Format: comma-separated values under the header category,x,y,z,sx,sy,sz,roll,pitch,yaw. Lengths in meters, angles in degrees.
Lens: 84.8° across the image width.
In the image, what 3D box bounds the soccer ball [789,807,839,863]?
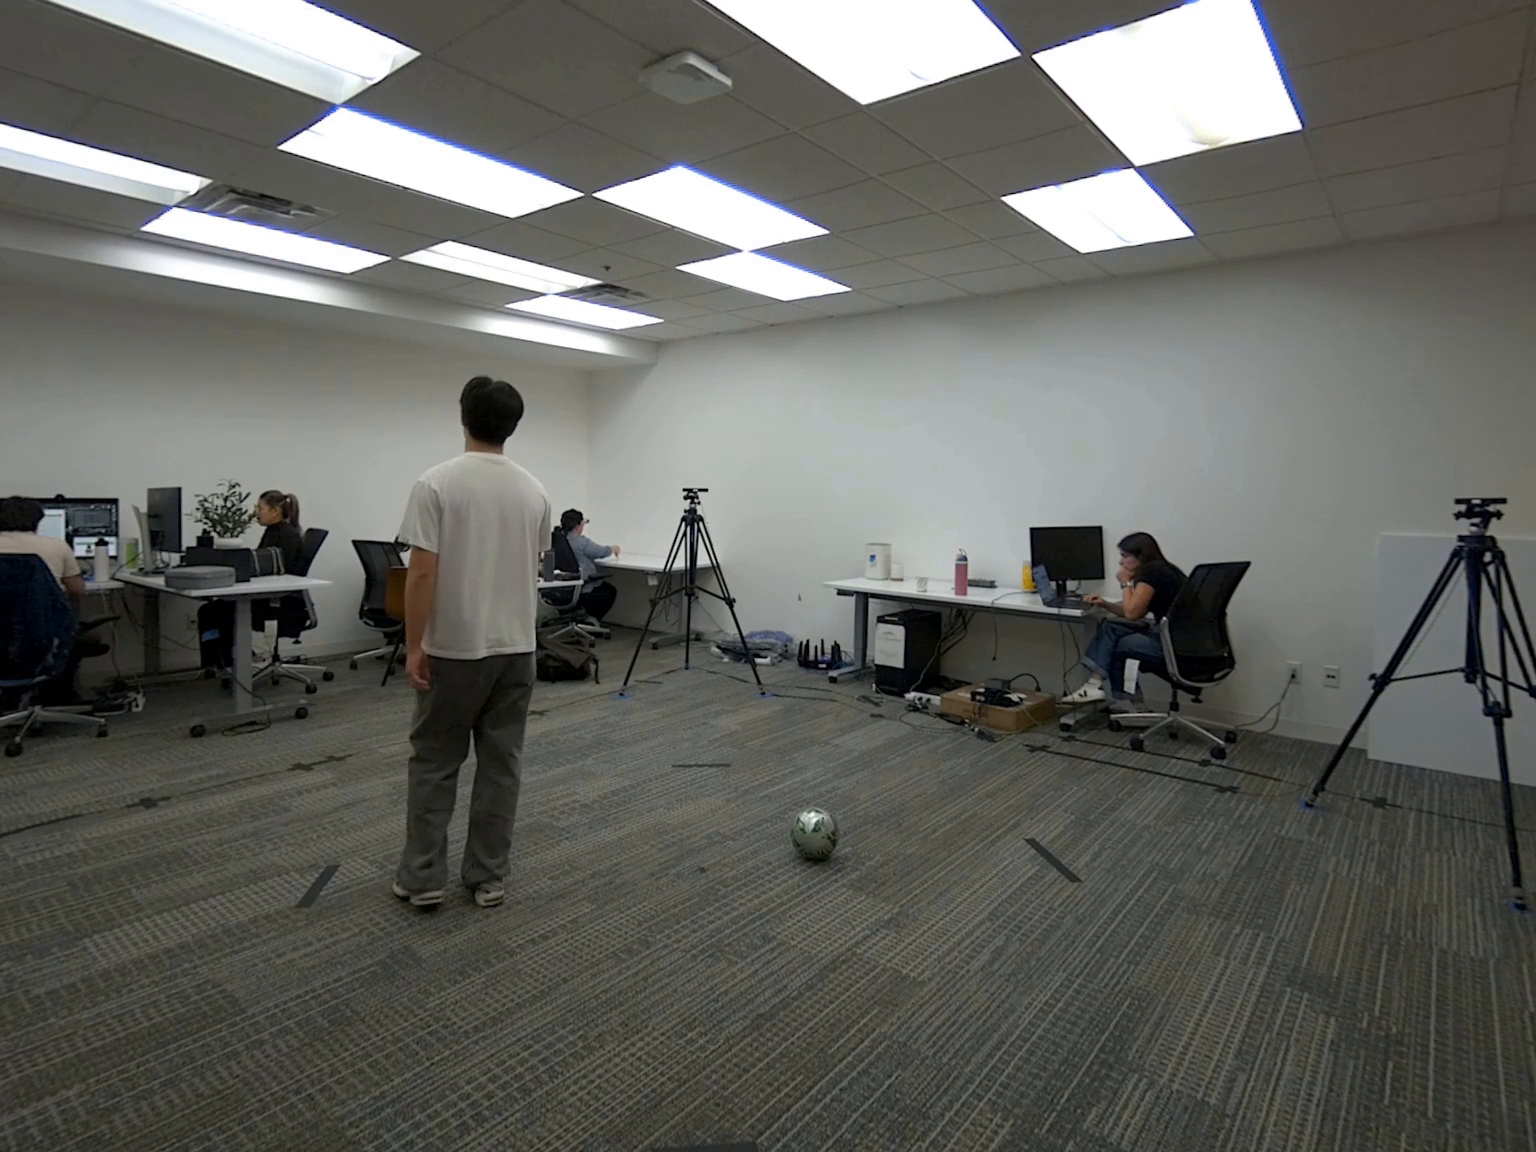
category,x,y,z,sx,sy,sz,roll,pitch,yaw
soccer ball,0.183,0.968,3.232,0.187,0.187,0.188,1,4,-2
